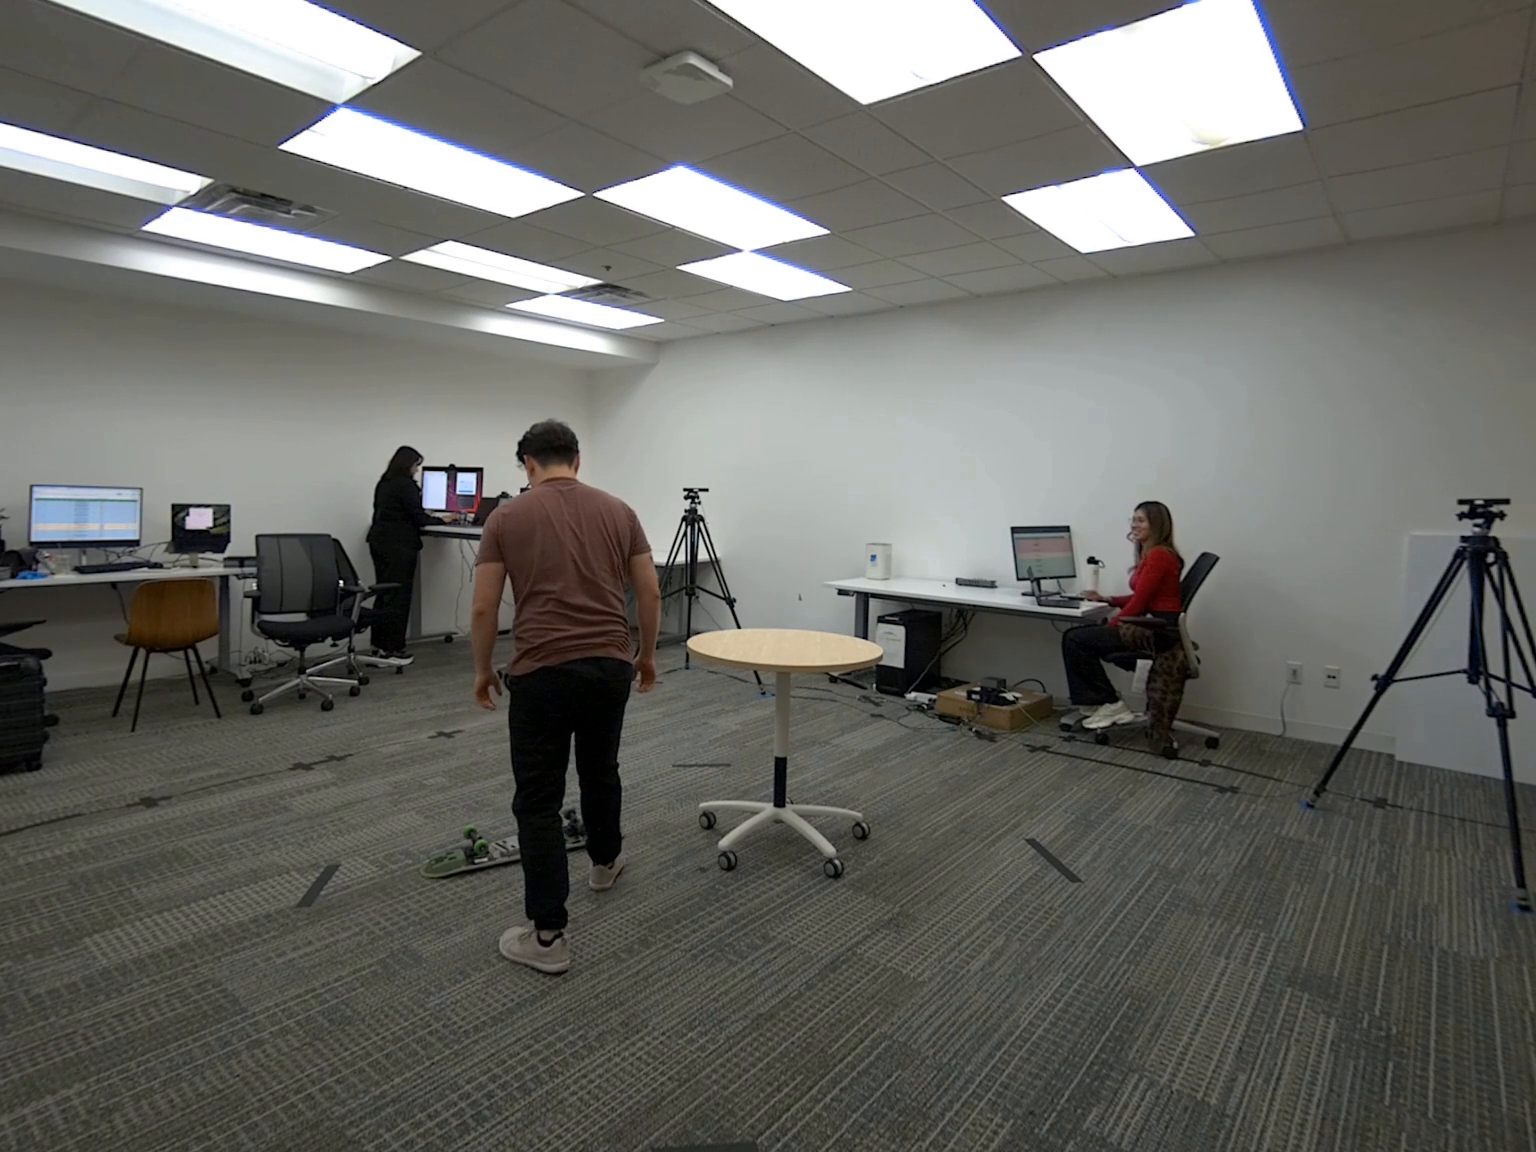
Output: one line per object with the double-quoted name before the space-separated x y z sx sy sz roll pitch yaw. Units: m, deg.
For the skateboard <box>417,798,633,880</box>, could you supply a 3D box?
"skateboard" -0.922 0.984 3.235 0.764 0.110 0.199 -3 6 -32
